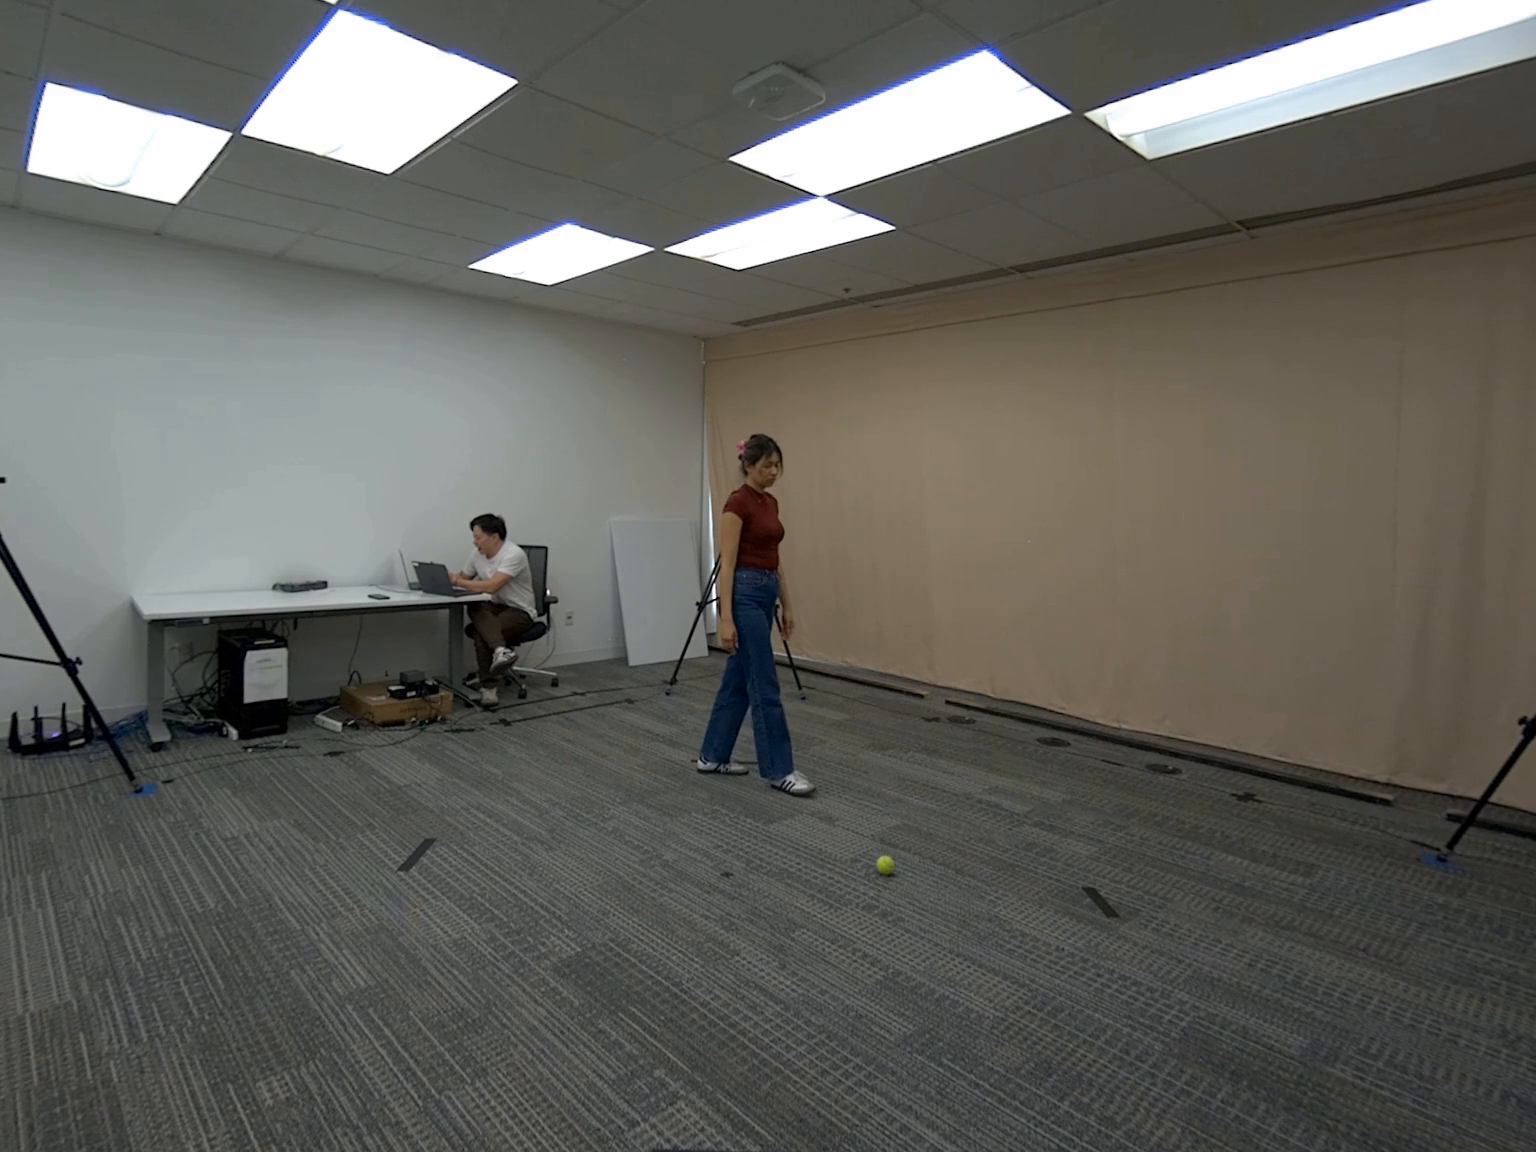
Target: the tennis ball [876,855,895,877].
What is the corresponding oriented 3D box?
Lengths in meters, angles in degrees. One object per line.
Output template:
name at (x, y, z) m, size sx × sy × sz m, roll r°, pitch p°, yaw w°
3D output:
tennis ball at (0.423, 1.071, 3.142) m, size 0.066 × 0.066 × 0.067 m, roll 1°, pitch 4°, yaw -1°
